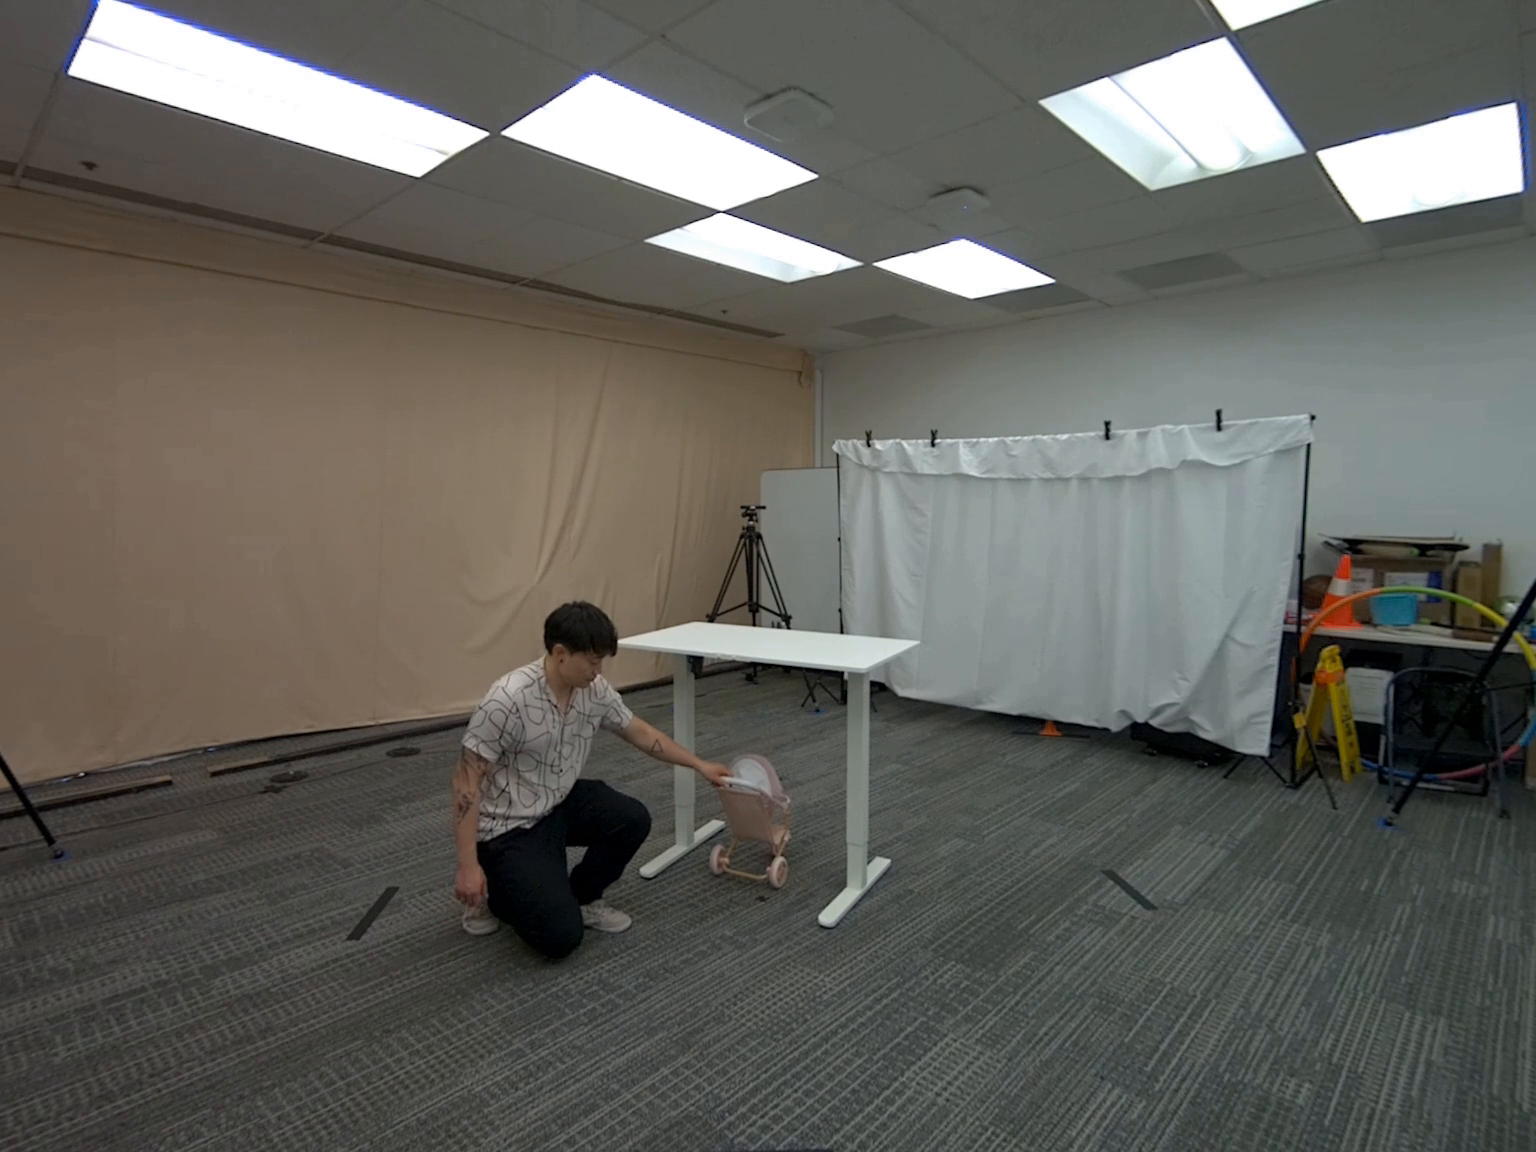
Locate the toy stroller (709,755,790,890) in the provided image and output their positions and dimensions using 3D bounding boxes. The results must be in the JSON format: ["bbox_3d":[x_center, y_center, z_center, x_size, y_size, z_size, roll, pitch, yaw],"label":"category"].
[{"bbox_3d":[-0.048,0.899,3.162,0.290,0.528,0.336,2,20,30],"label":"toy stroller"}]
